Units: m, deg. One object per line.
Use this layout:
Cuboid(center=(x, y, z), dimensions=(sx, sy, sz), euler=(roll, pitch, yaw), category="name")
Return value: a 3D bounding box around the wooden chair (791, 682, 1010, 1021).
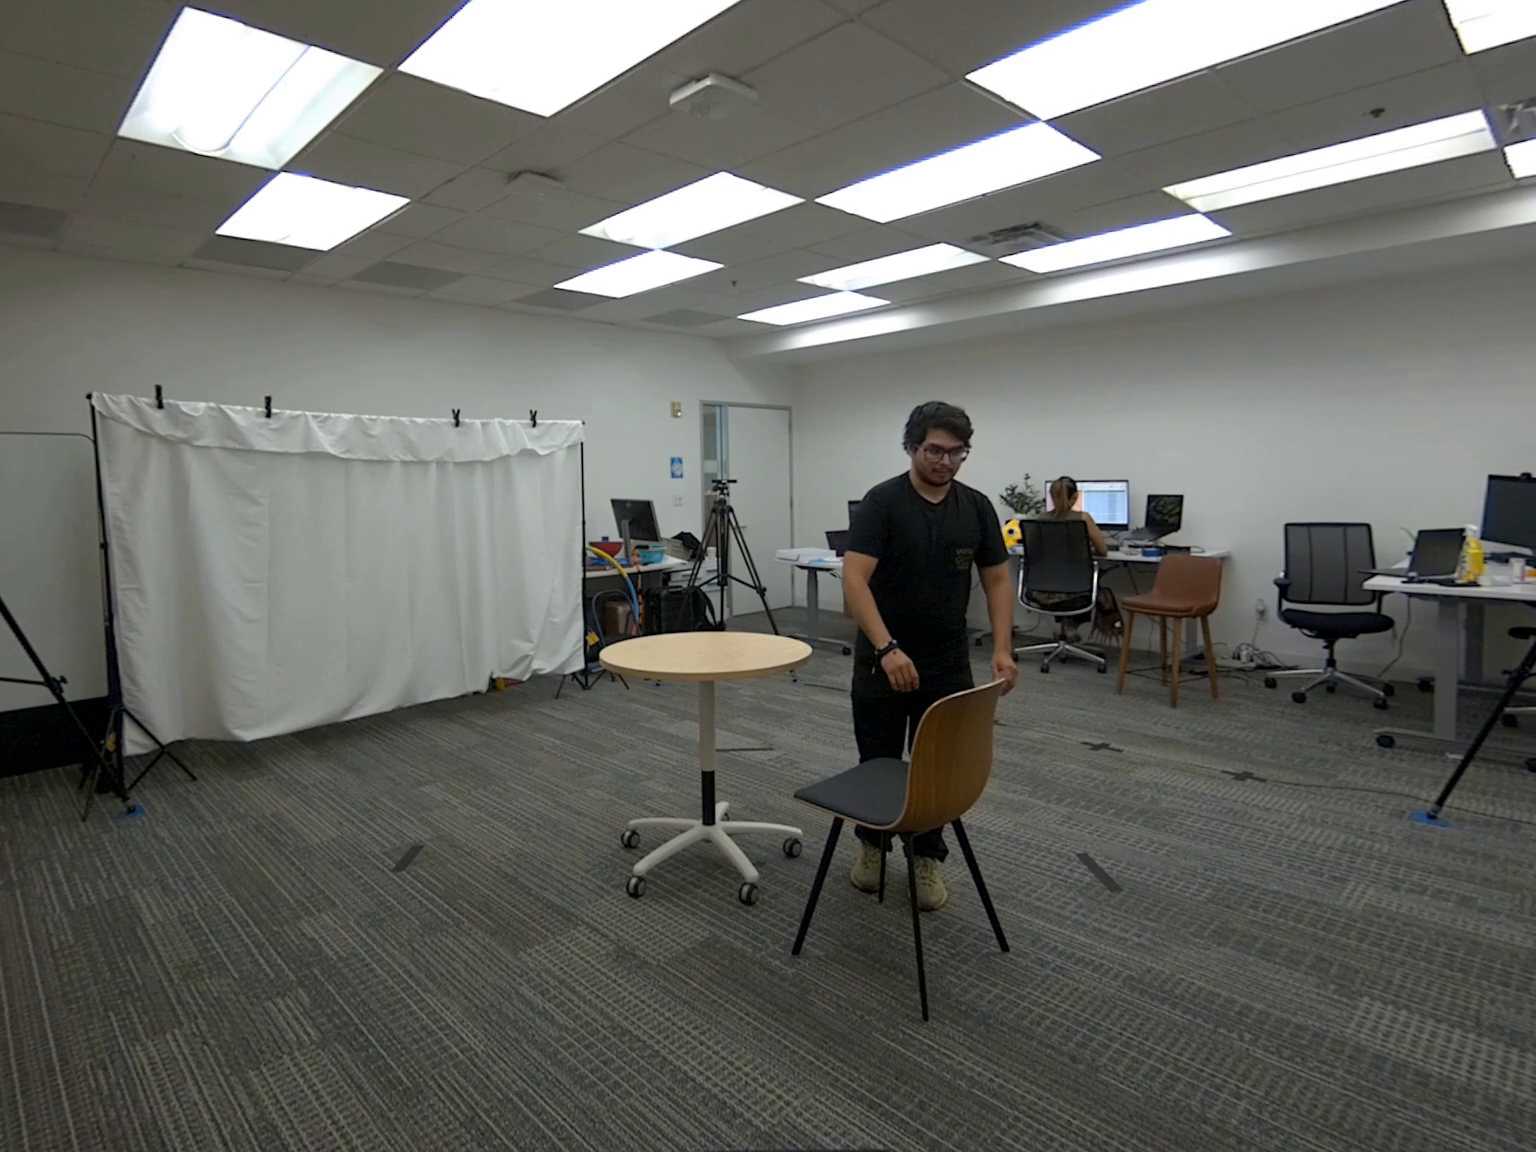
Cuboid(center=(0.376, 0.684, 2.477), dimensions=(0.540, 0.871, 0.466), euler=(9, 11, 43), category="wooden chair")
